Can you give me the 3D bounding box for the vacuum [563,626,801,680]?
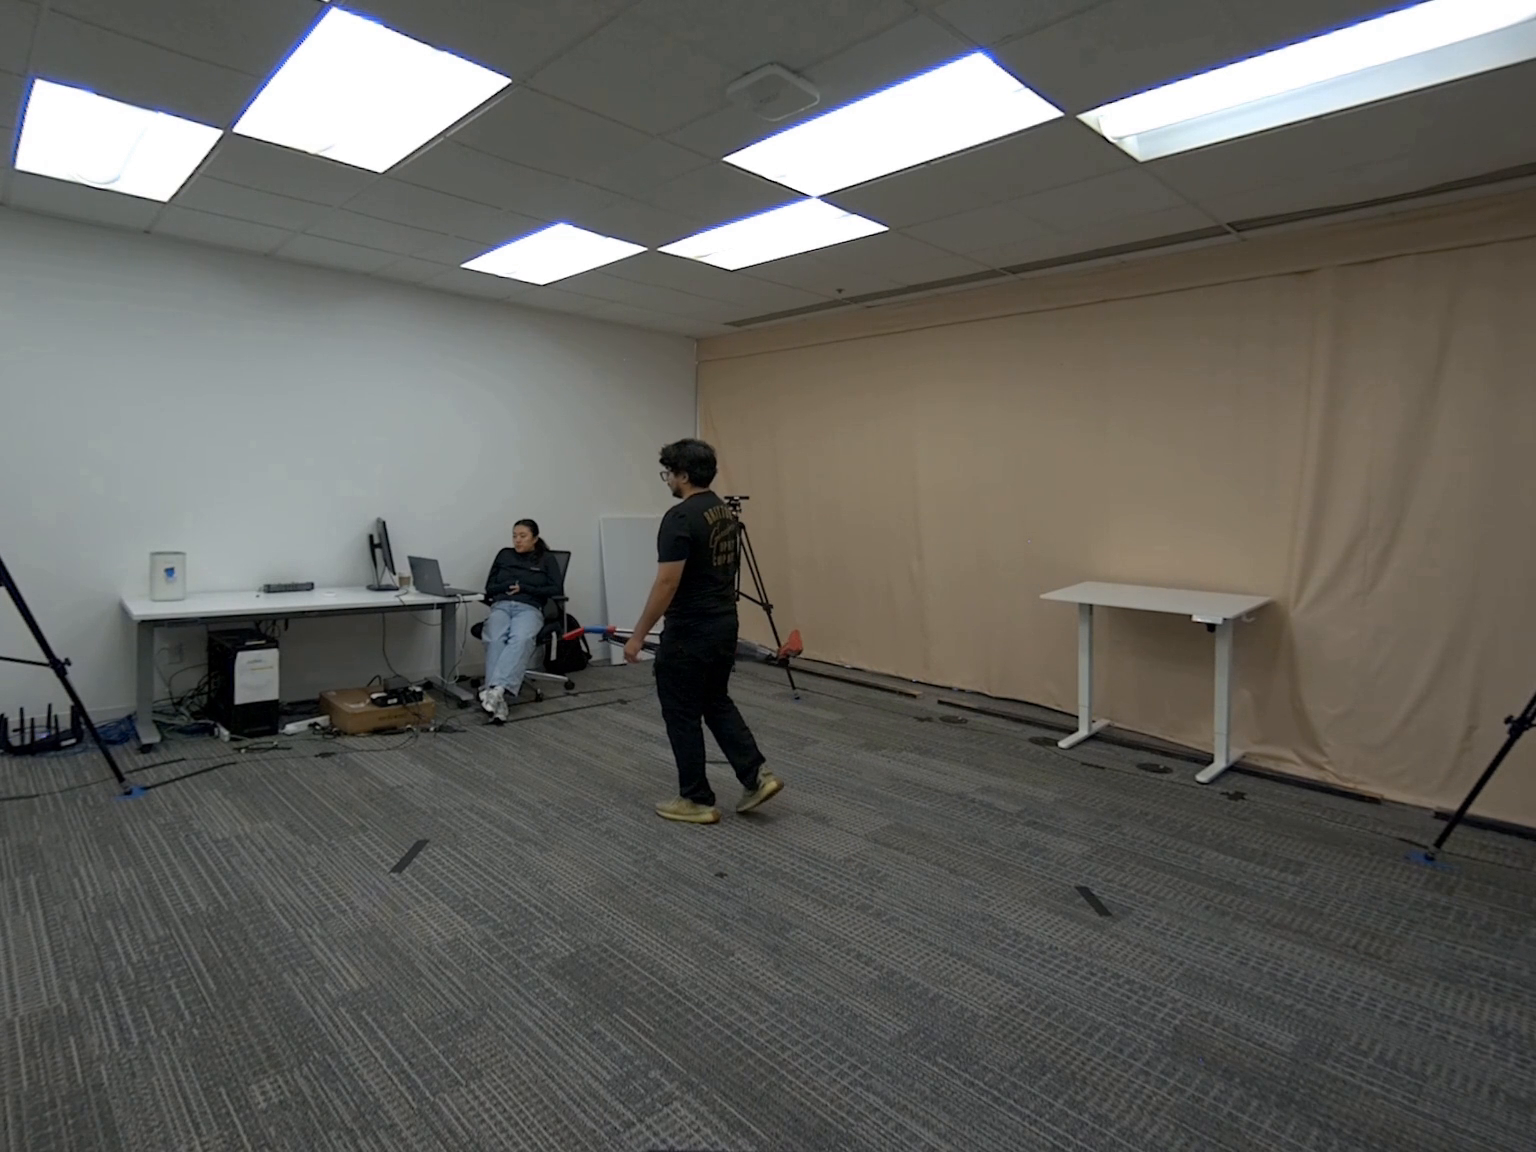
[{"bbox_3d":[-0.425,0.330,3.916,1.048,0.143,0.255,3,14,-1],"label":"vacuum"}]
